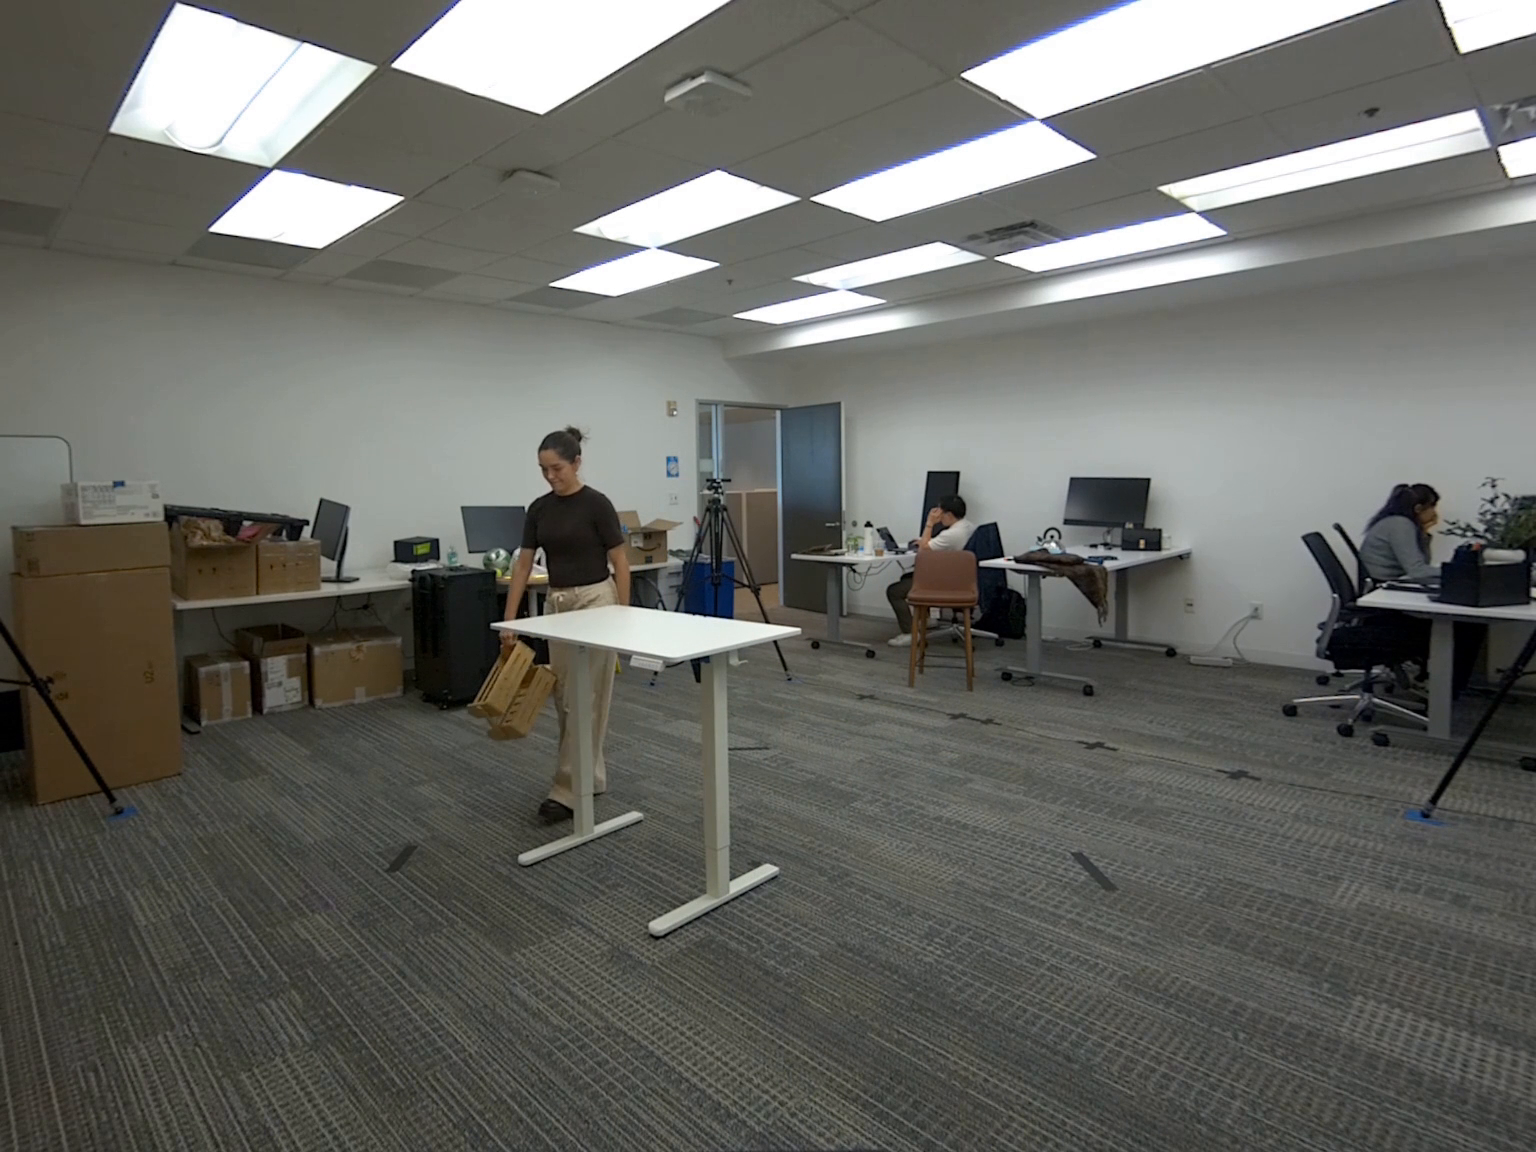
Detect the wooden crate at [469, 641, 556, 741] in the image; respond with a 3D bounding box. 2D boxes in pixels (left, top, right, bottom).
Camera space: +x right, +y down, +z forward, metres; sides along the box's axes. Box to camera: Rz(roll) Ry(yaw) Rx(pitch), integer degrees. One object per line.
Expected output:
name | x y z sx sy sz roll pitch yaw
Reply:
wooden crate | -1.111 0.489 3.621 0.308 0.329 0.264 -17 -50 41
